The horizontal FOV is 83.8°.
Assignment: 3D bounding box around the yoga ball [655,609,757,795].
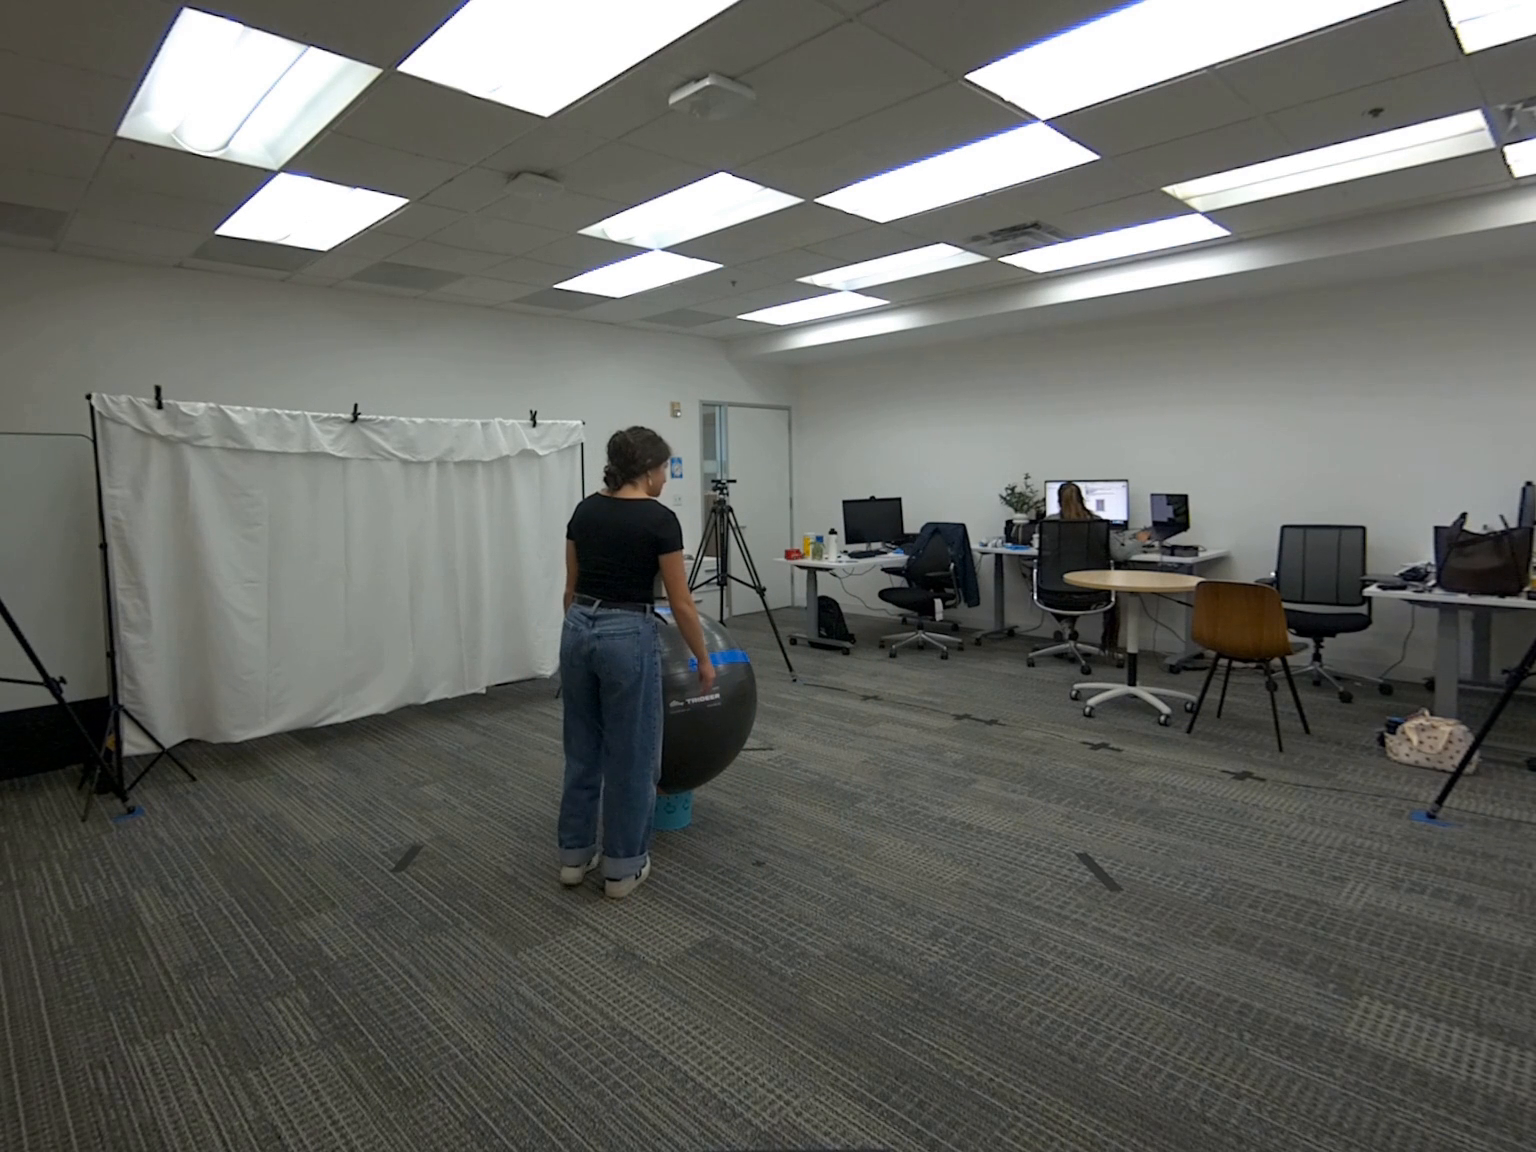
[{"bbox_3d":[-0.427,0.503,3.498,0.757,0.755,0.762,-1,5,-2],"label":"yoga ball"}]
